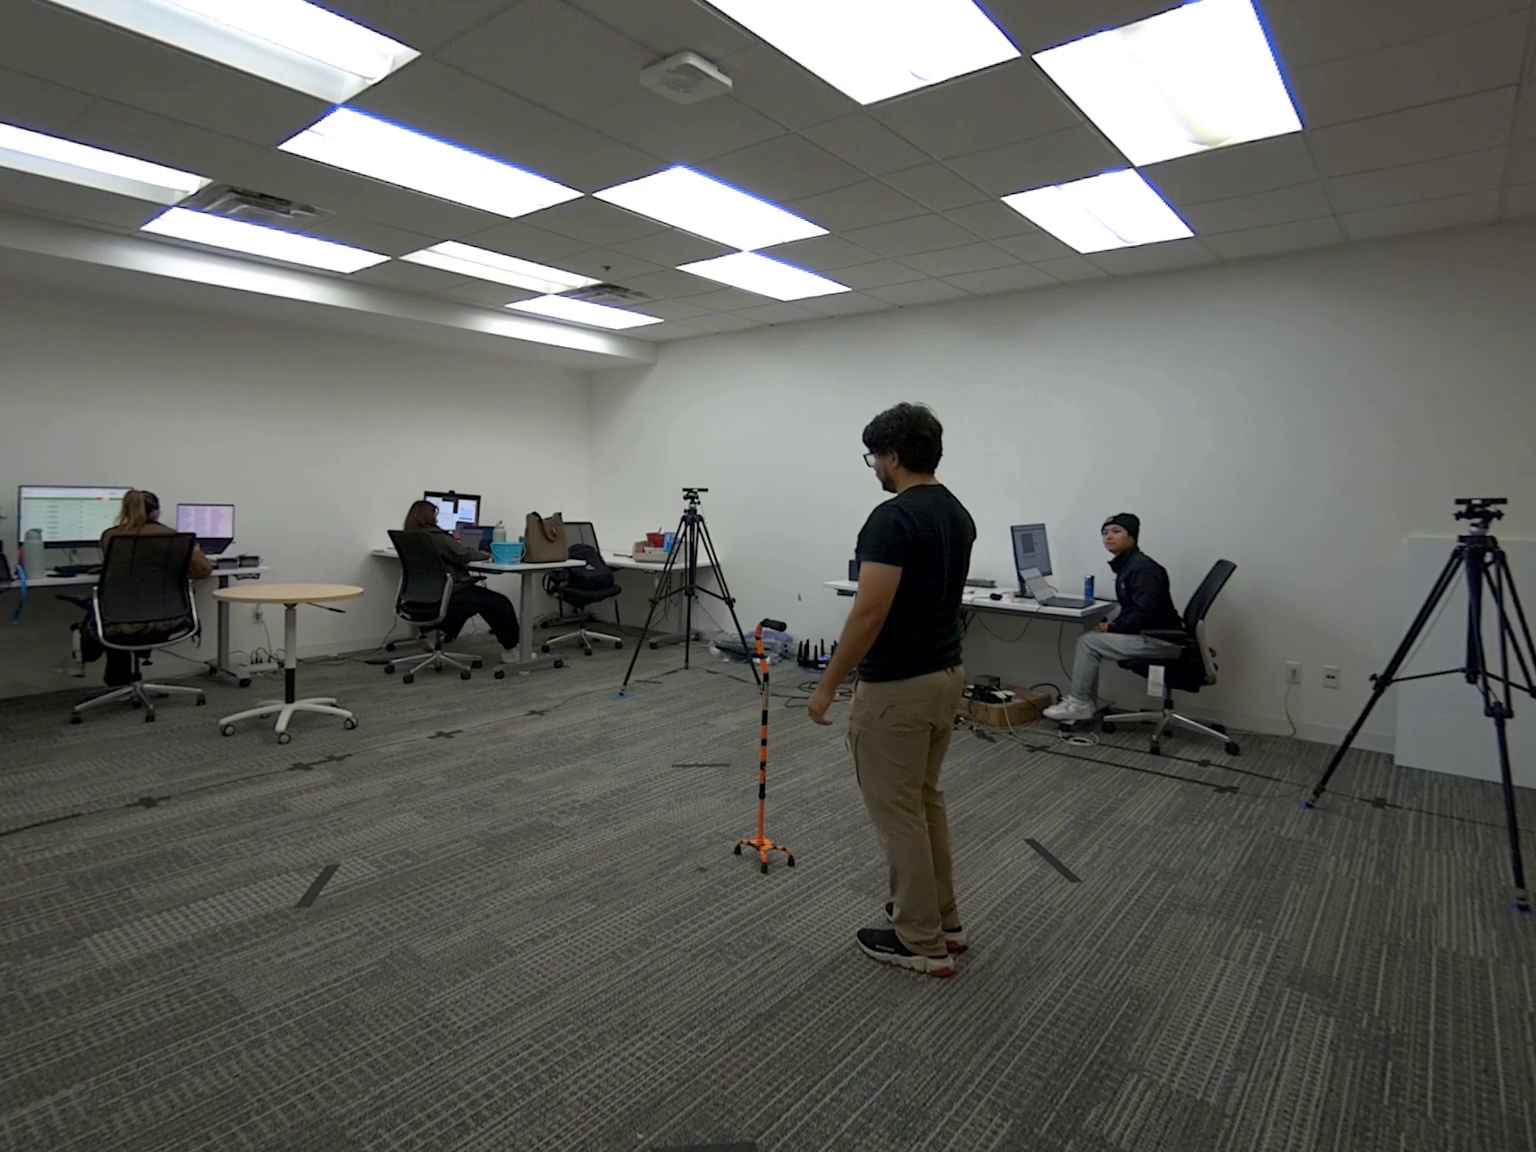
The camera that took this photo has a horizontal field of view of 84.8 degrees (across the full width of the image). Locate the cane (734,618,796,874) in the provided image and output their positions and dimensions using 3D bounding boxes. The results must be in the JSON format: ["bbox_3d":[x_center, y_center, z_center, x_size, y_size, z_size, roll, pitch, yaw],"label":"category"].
[{"bbox_3d":[-0.008,0.614,3.180,0.147,0.905,0.213,0,4,-32],"label":"cane"}]
